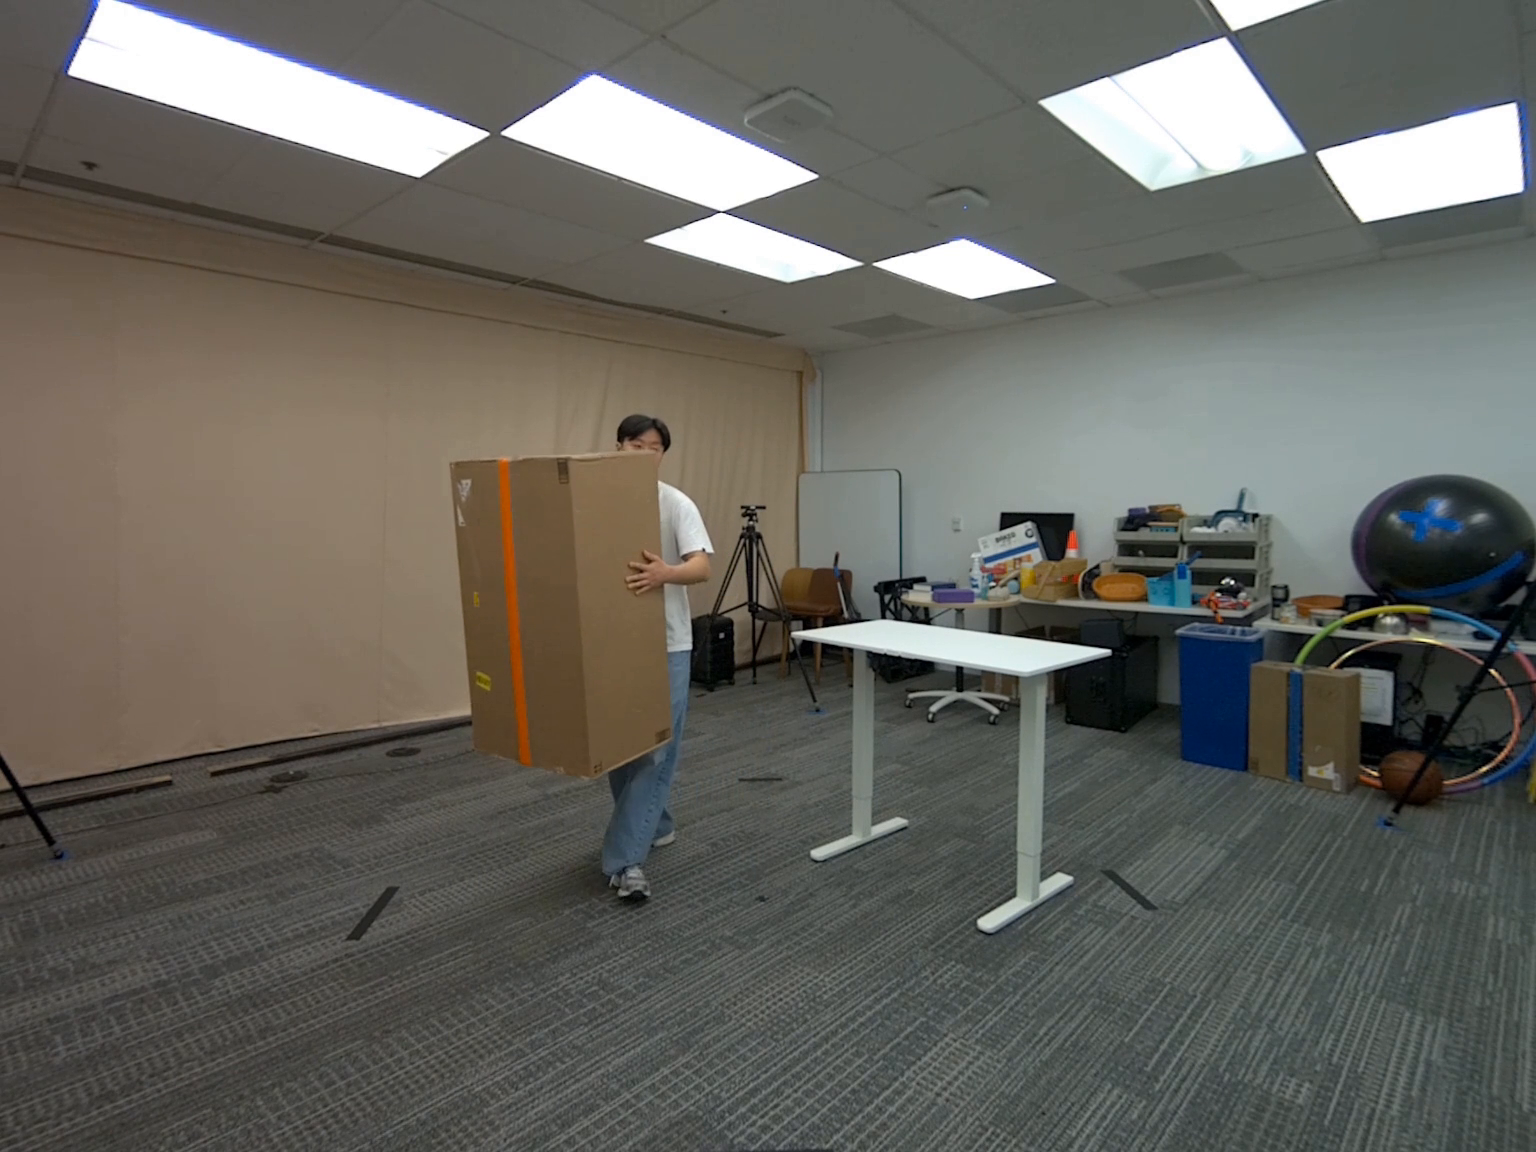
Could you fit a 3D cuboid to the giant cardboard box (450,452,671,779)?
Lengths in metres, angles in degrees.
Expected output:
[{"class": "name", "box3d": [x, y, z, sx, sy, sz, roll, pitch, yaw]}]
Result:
[{"class": "giant cardboard box", "box3d": [-0.710, 0.097, 2.907, 0.596, 1.021, 0.415, 3, 9, 35]}]
